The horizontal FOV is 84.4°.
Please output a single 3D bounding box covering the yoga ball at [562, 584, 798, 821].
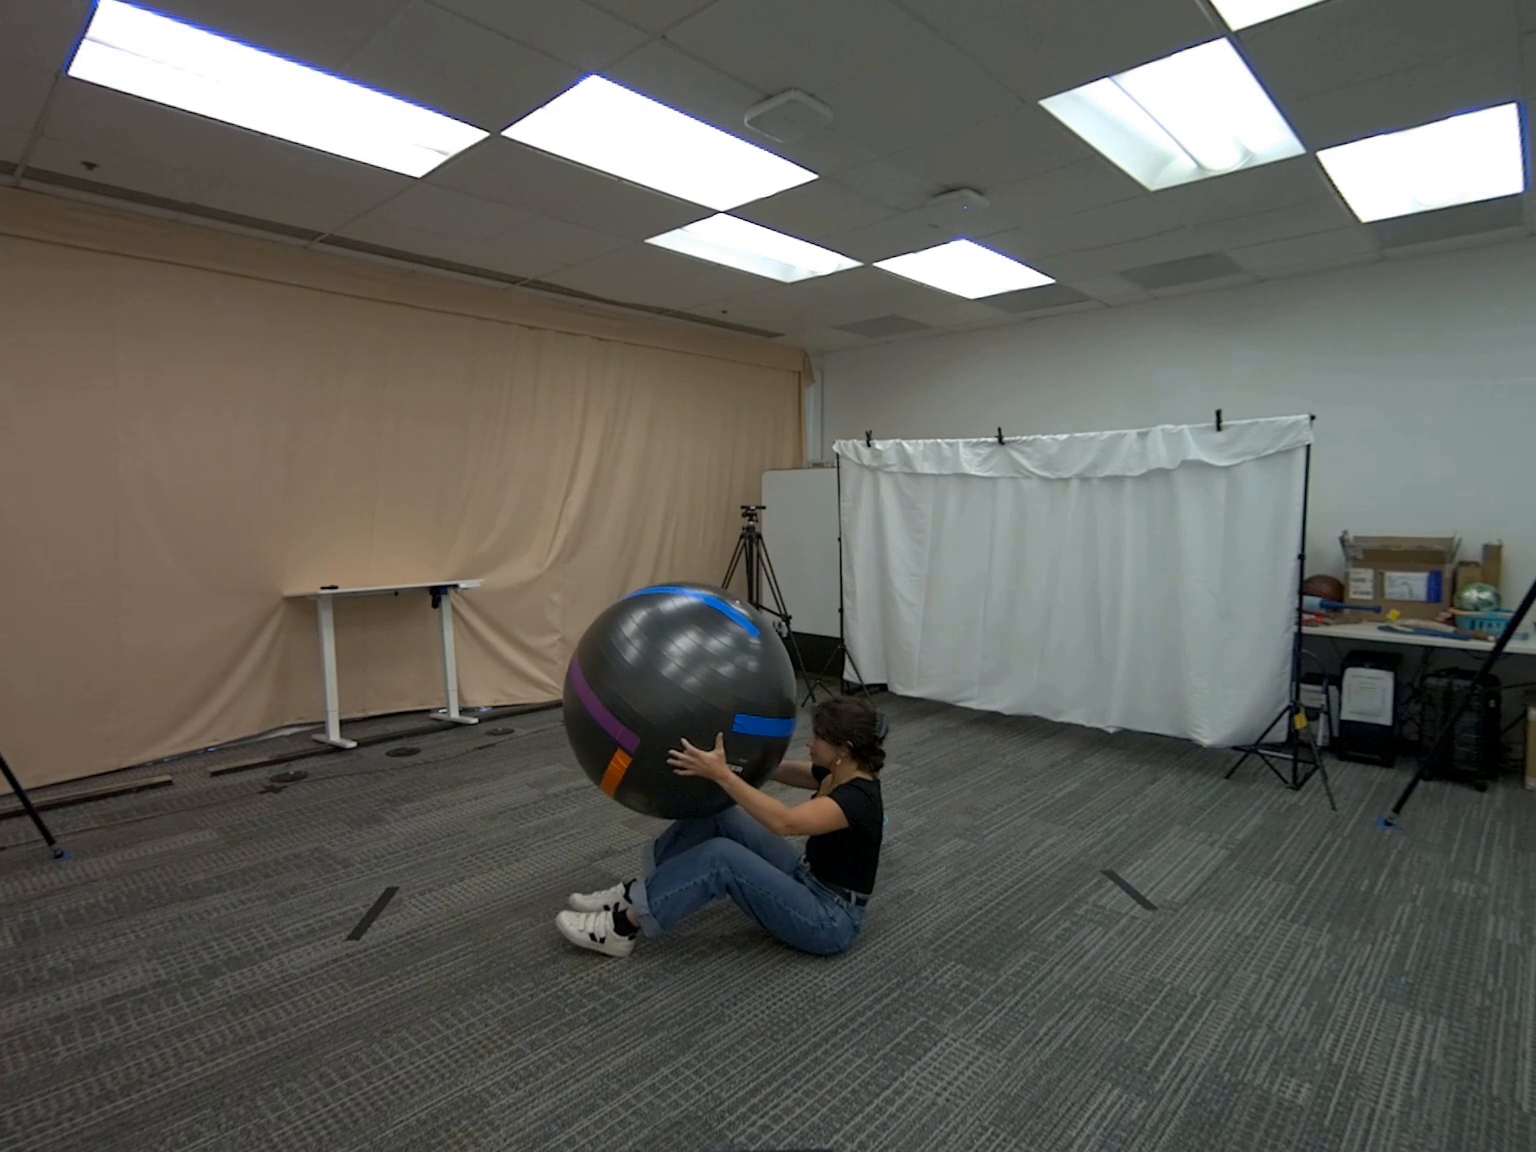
[{"bbox_3d":[-0.274,0.404,2.732,0.757,0.756,0.761,0,4,-2],"label":"yoga ball"}]
